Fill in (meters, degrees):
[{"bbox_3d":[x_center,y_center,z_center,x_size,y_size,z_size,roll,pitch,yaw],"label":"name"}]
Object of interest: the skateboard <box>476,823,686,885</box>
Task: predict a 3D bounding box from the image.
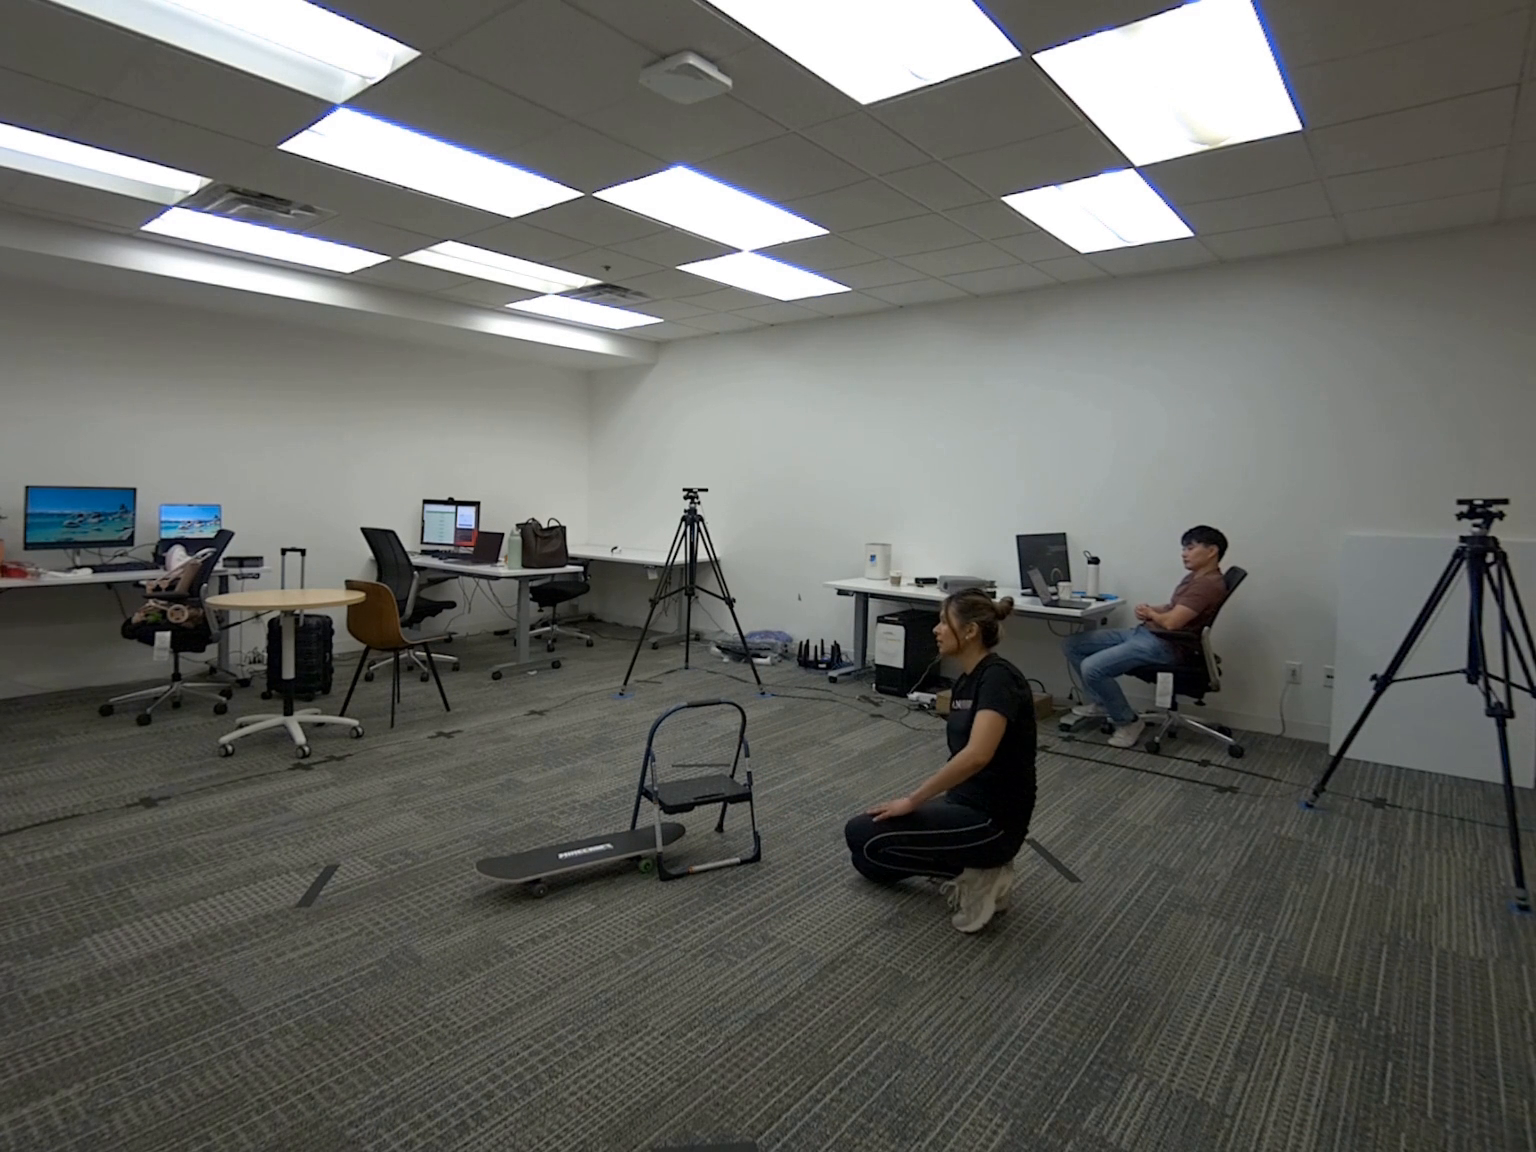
[{"bbox_3d":[-0.661,1.009,3.044,0.764,0.110,0.200,-3,7,-31],"label":"skateboard"}]
